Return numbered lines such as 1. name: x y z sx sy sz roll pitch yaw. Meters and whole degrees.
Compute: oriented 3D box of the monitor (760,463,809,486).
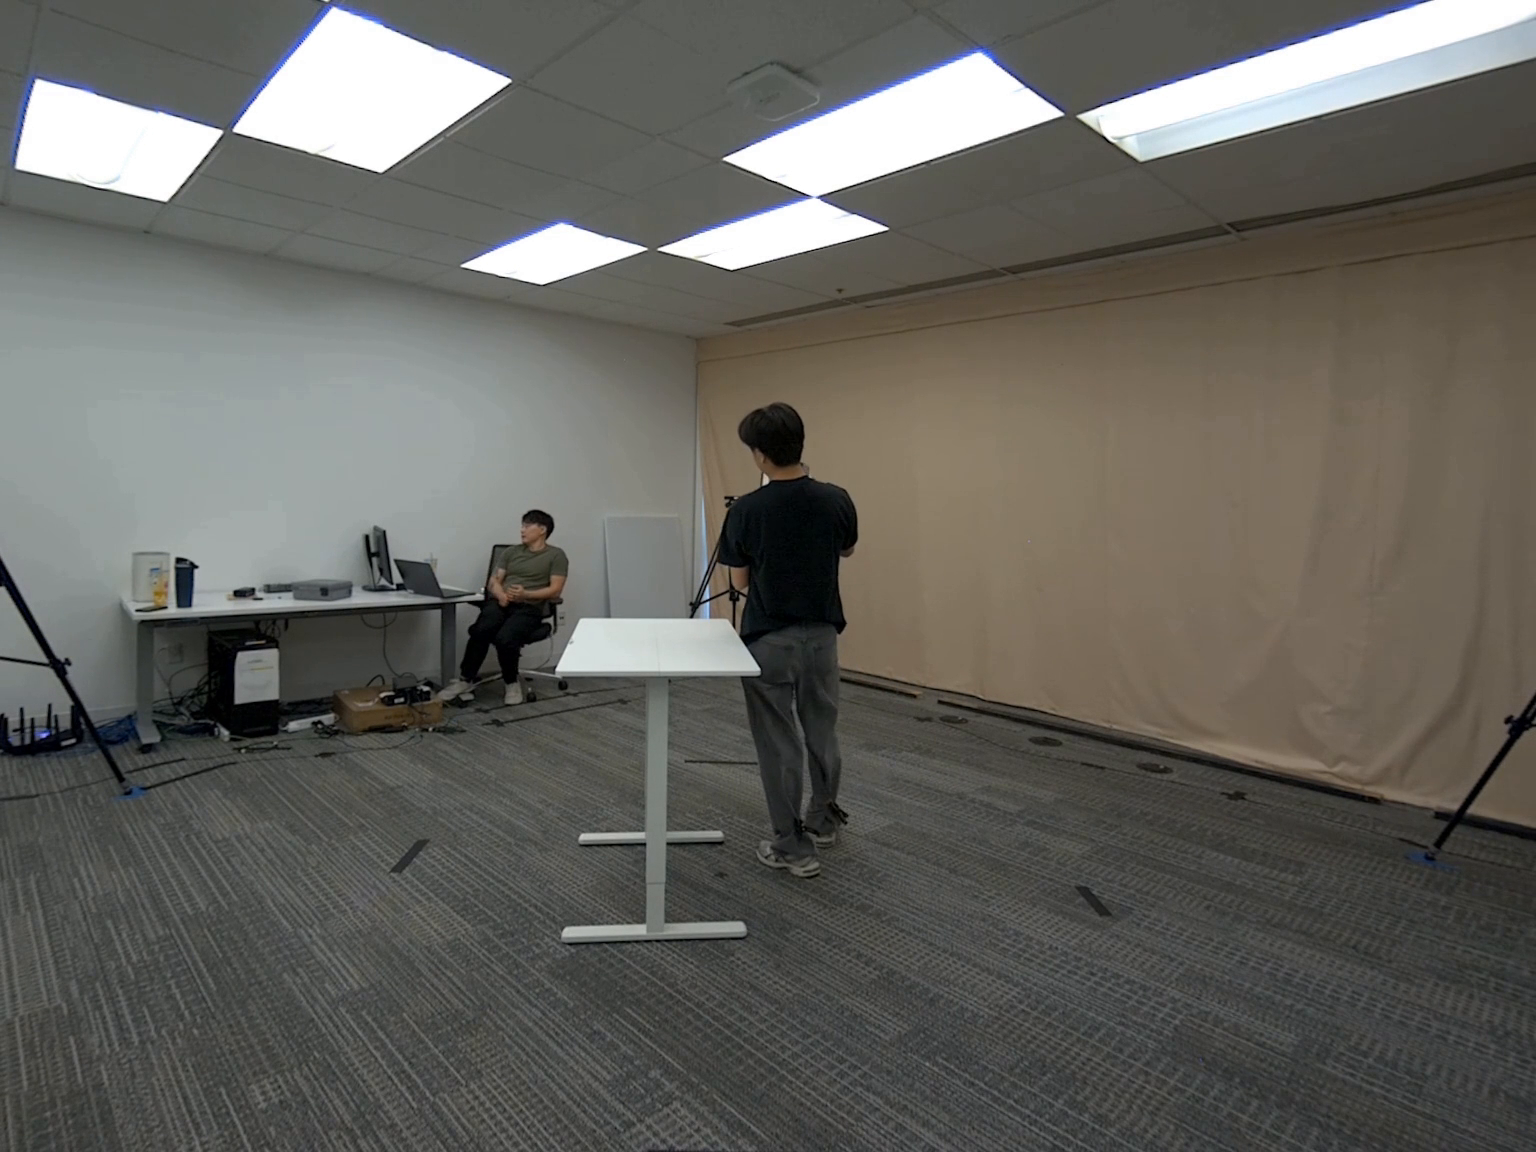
1. monitor: 0.064 -0.346 3.421 0.221 0.561 0.568 -8 10 -4
